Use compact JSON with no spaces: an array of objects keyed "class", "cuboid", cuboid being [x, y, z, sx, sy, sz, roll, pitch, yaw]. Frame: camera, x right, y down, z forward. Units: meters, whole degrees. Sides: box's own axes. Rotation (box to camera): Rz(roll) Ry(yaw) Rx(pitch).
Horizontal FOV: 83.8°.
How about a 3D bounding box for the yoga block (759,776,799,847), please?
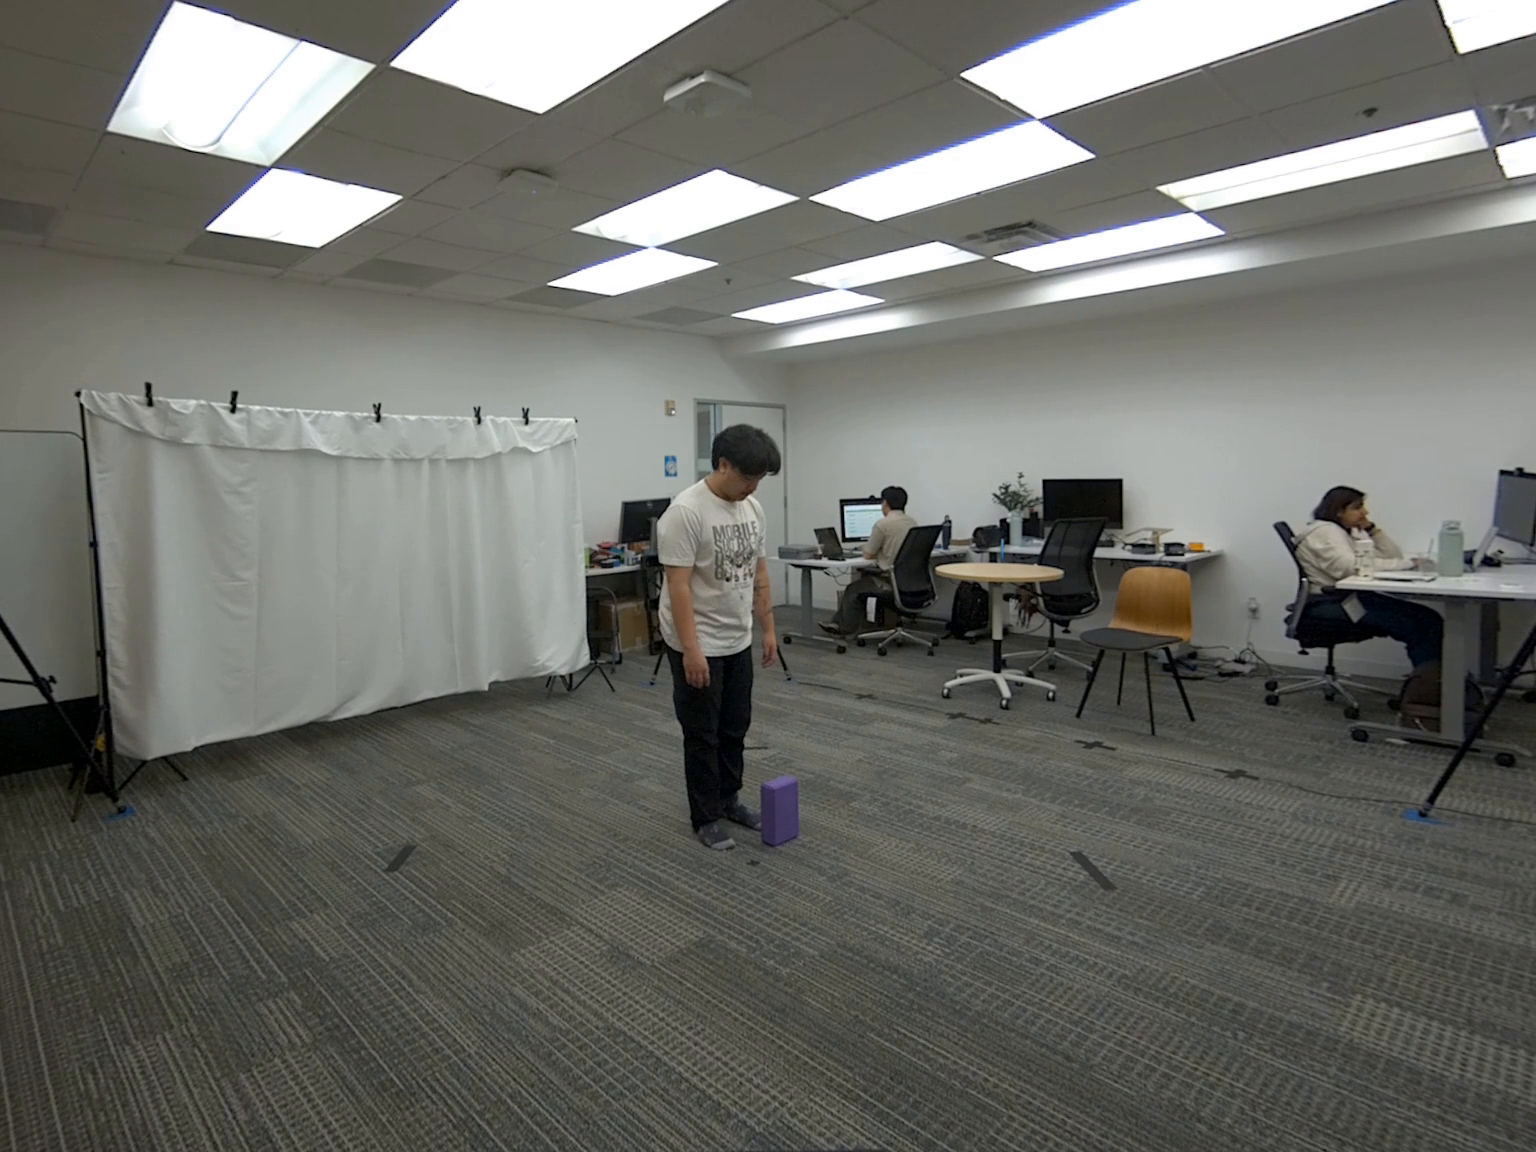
[{"class":"yoga block","cuboid":[0.049,0.902,3.299,0.145,0.228,0.079,-3,5,-45]}]
